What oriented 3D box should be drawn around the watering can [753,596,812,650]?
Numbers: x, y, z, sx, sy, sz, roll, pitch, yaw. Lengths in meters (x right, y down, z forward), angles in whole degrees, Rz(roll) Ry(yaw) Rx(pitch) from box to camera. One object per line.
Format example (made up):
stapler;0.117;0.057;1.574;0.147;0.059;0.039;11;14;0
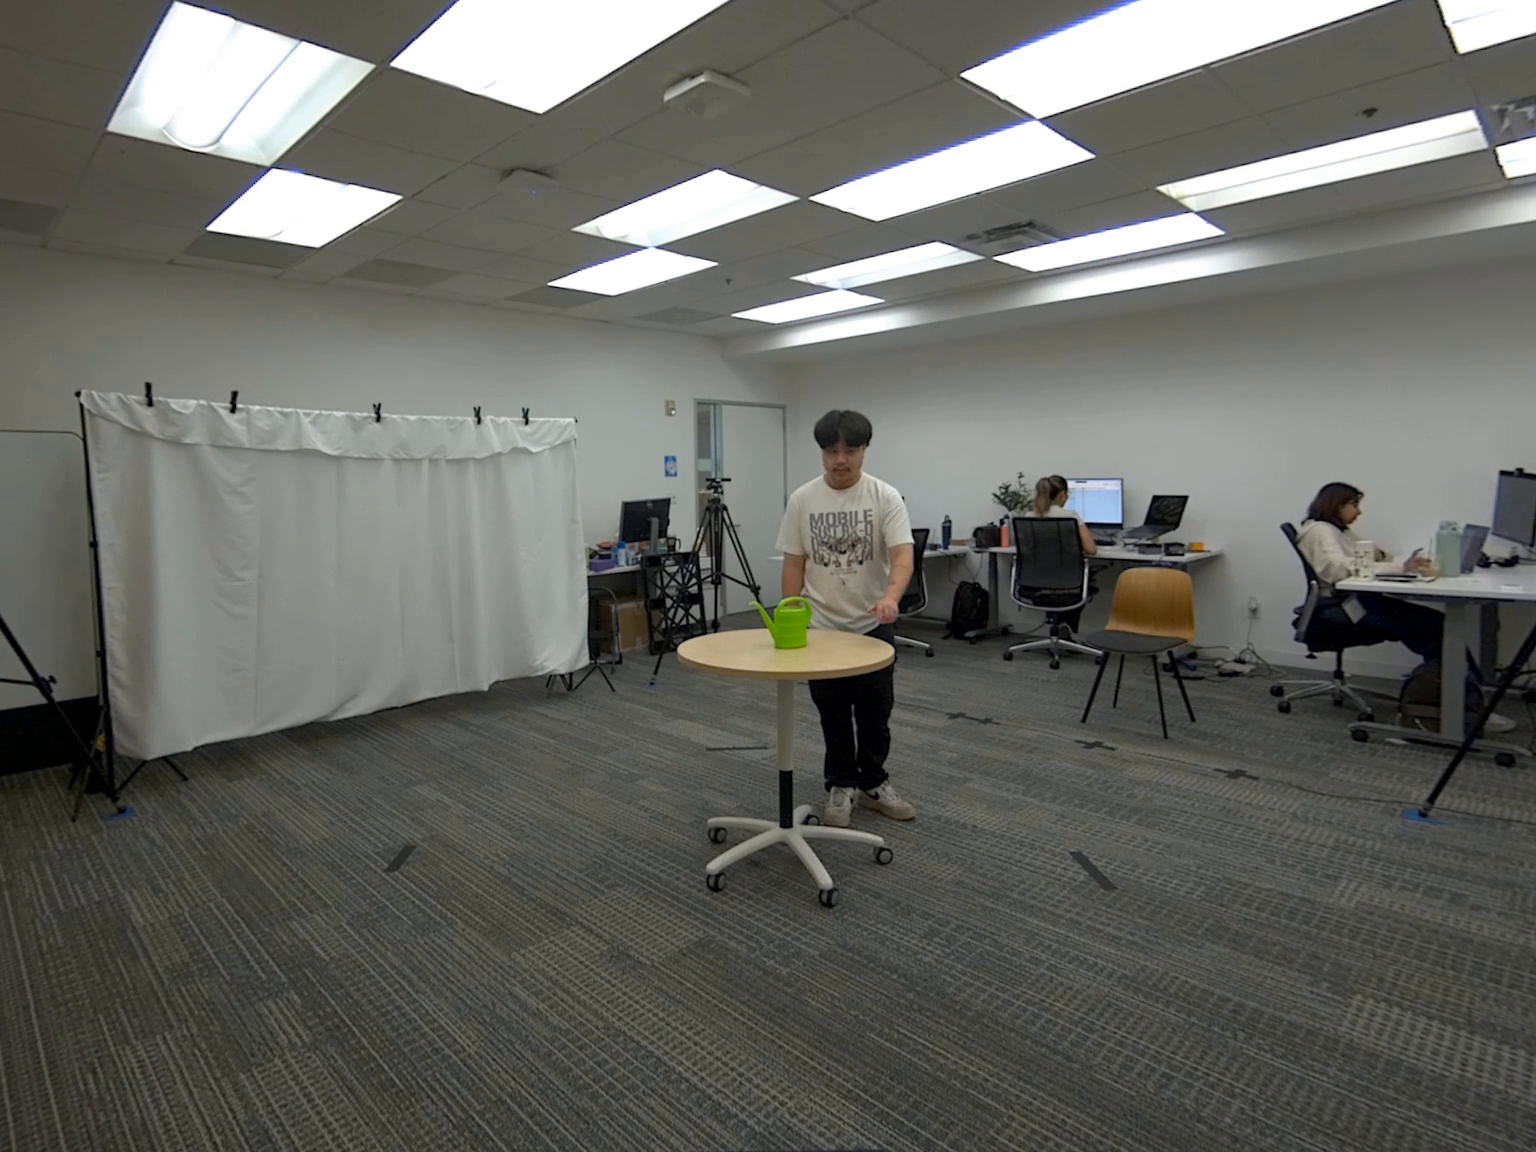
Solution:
watering can;0.050;0.170;3.043;0.272;0.176;0.100;-2;2;-28
